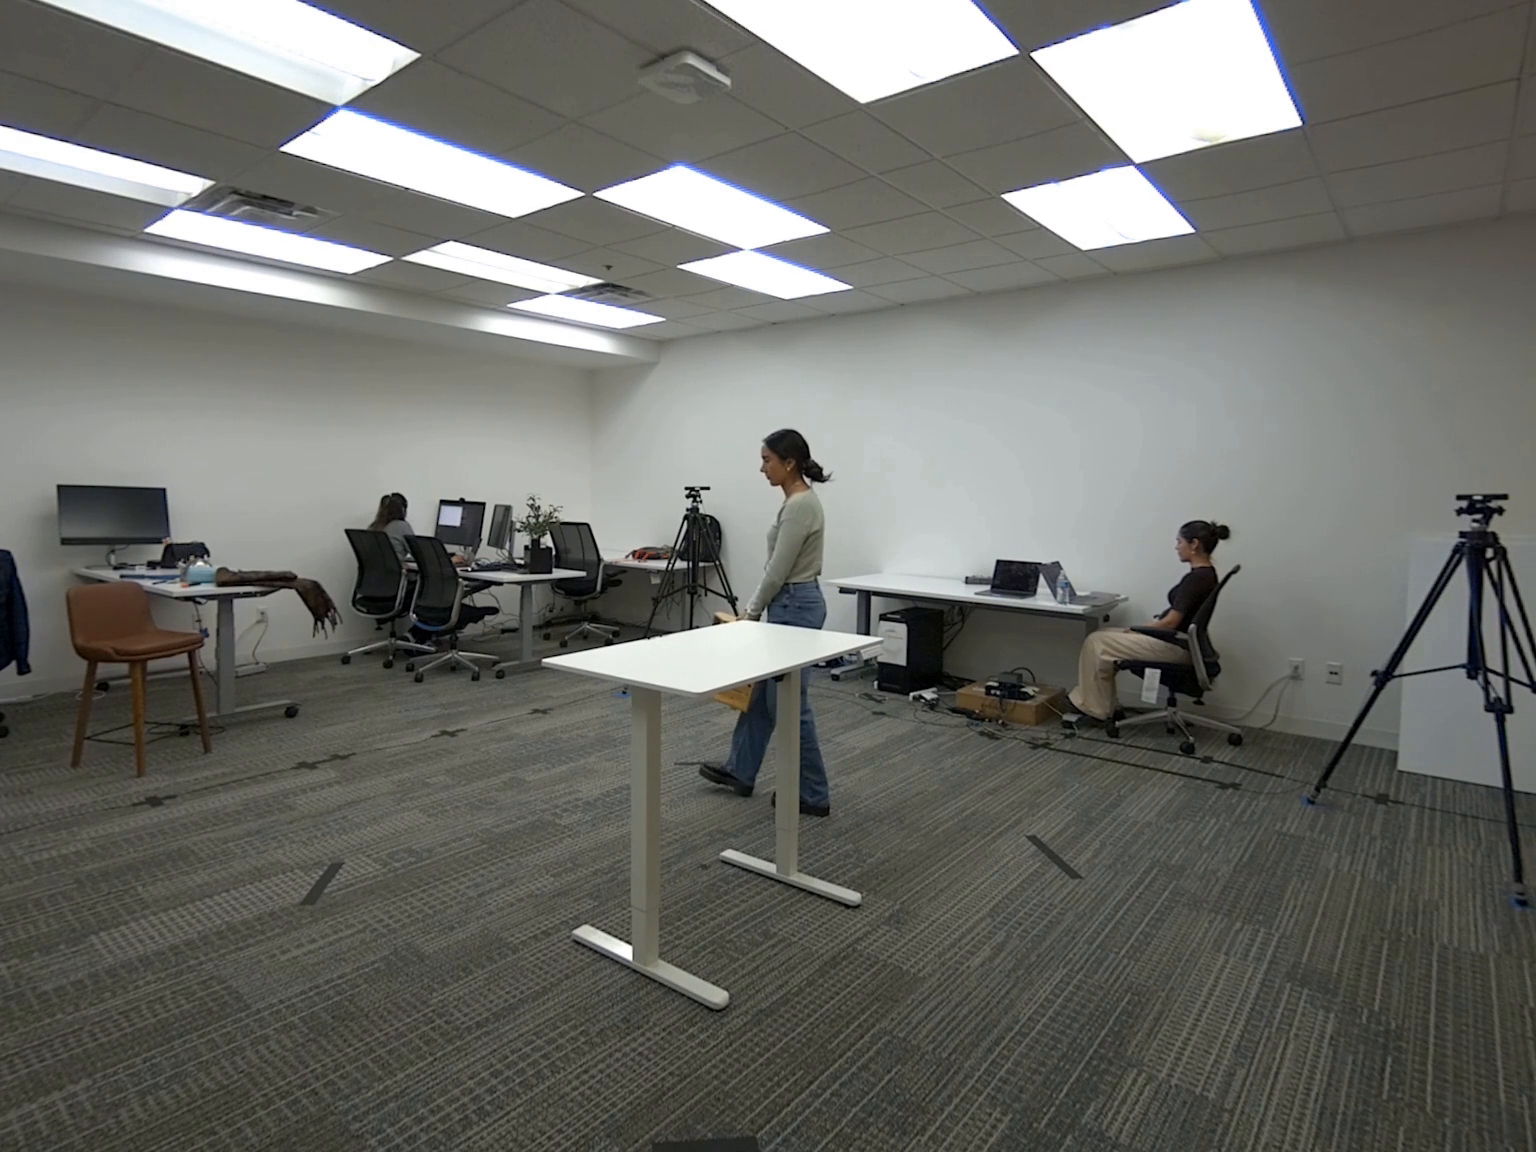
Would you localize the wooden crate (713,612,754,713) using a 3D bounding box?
[{"bbox_3d":[-0.177,0.366,3.752,0.307,0.321,0.271,18,15,12],"label":"wooden crate"}]
